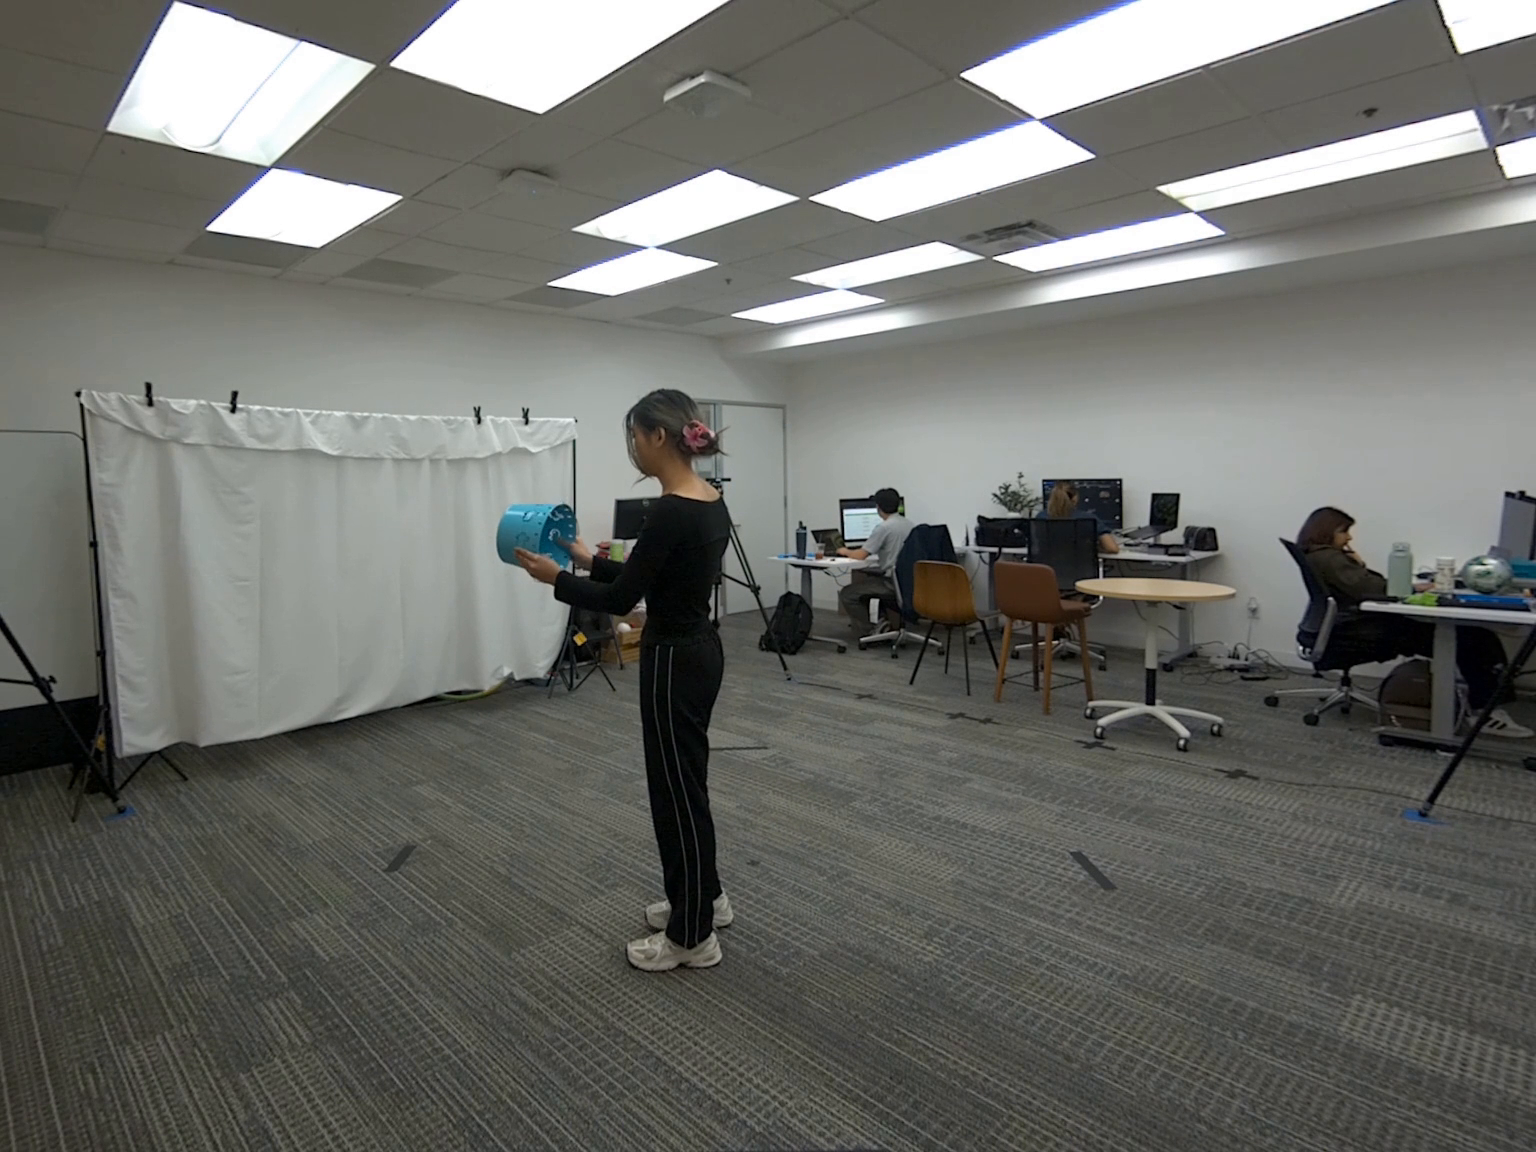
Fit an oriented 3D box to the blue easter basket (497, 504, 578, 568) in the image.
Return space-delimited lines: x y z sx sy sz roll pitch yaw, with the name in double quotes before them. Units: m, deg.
"blue easter basket" -0.680 -0.118 2.523 0.158 0.242 0.241 9 7 13
